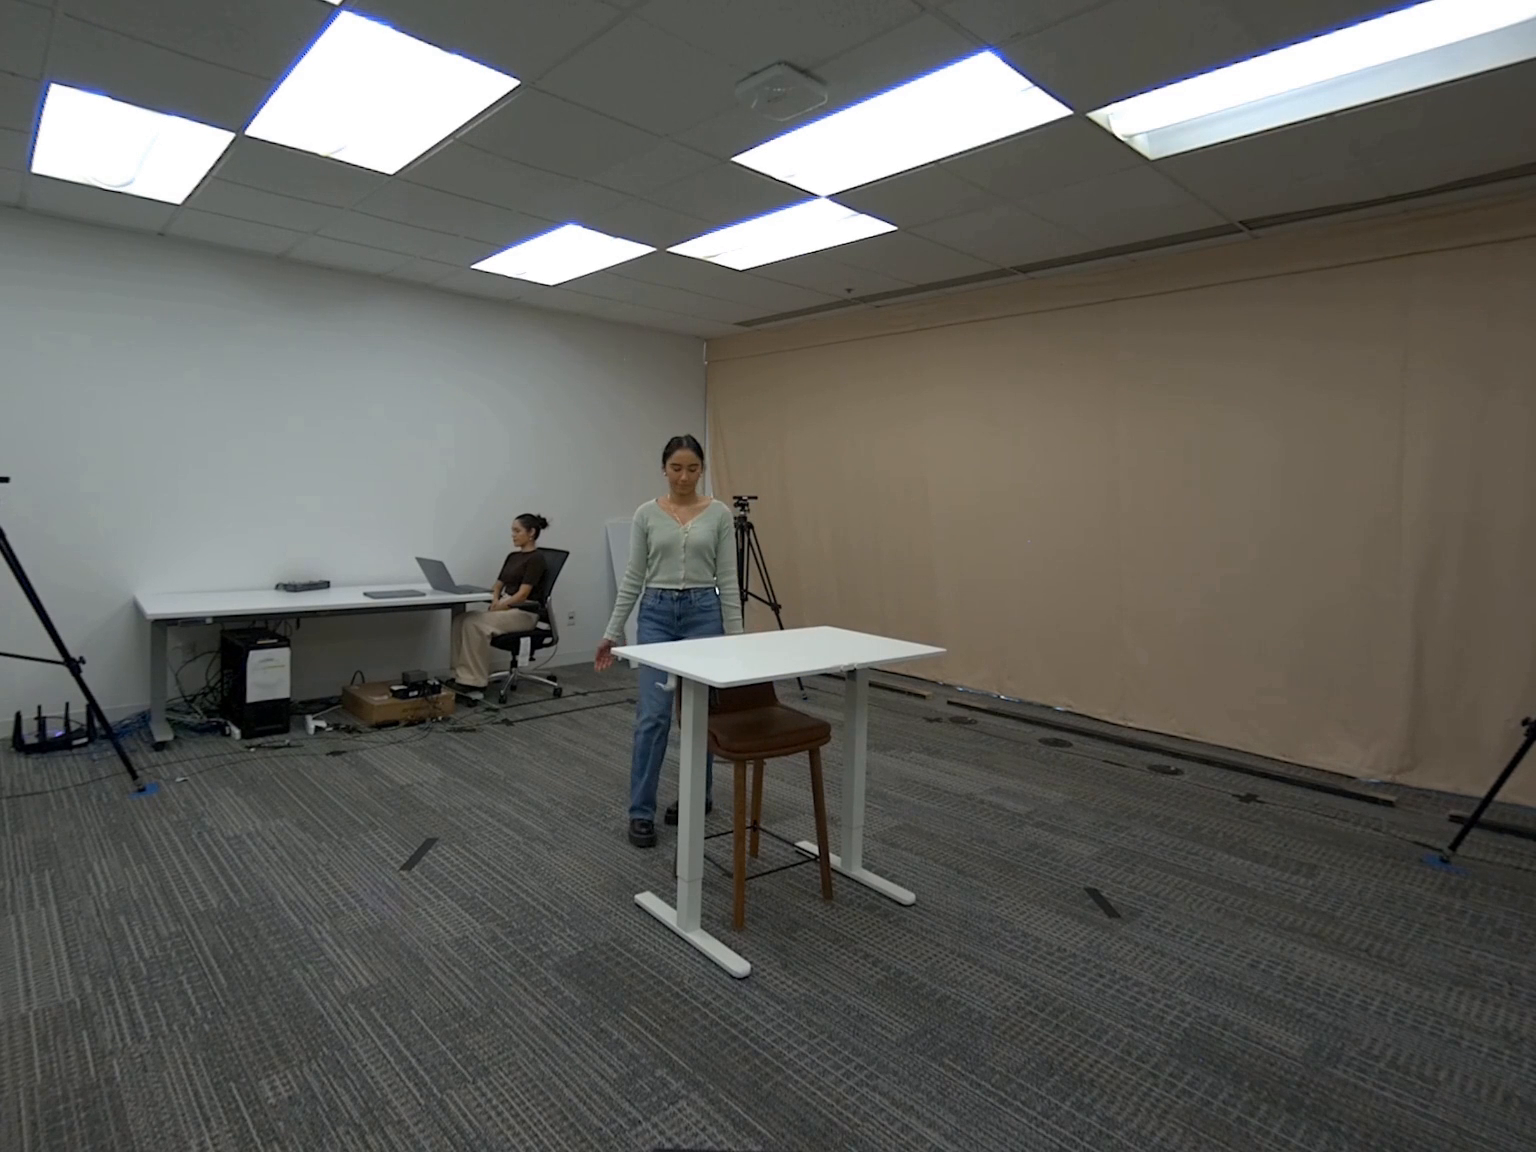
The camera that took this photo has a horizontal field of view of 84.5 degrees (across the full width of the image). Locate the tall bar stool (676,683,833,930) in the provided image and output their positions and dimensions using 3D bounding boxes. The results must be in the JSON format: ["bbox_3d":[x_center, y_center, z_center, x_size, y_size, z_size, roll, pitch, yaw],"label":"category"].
[{"bbox_3d":[-0.066,0.683,2.978,0.447,0.888,0.478,-2,2,-35],"label":"tall bar stool"}]
